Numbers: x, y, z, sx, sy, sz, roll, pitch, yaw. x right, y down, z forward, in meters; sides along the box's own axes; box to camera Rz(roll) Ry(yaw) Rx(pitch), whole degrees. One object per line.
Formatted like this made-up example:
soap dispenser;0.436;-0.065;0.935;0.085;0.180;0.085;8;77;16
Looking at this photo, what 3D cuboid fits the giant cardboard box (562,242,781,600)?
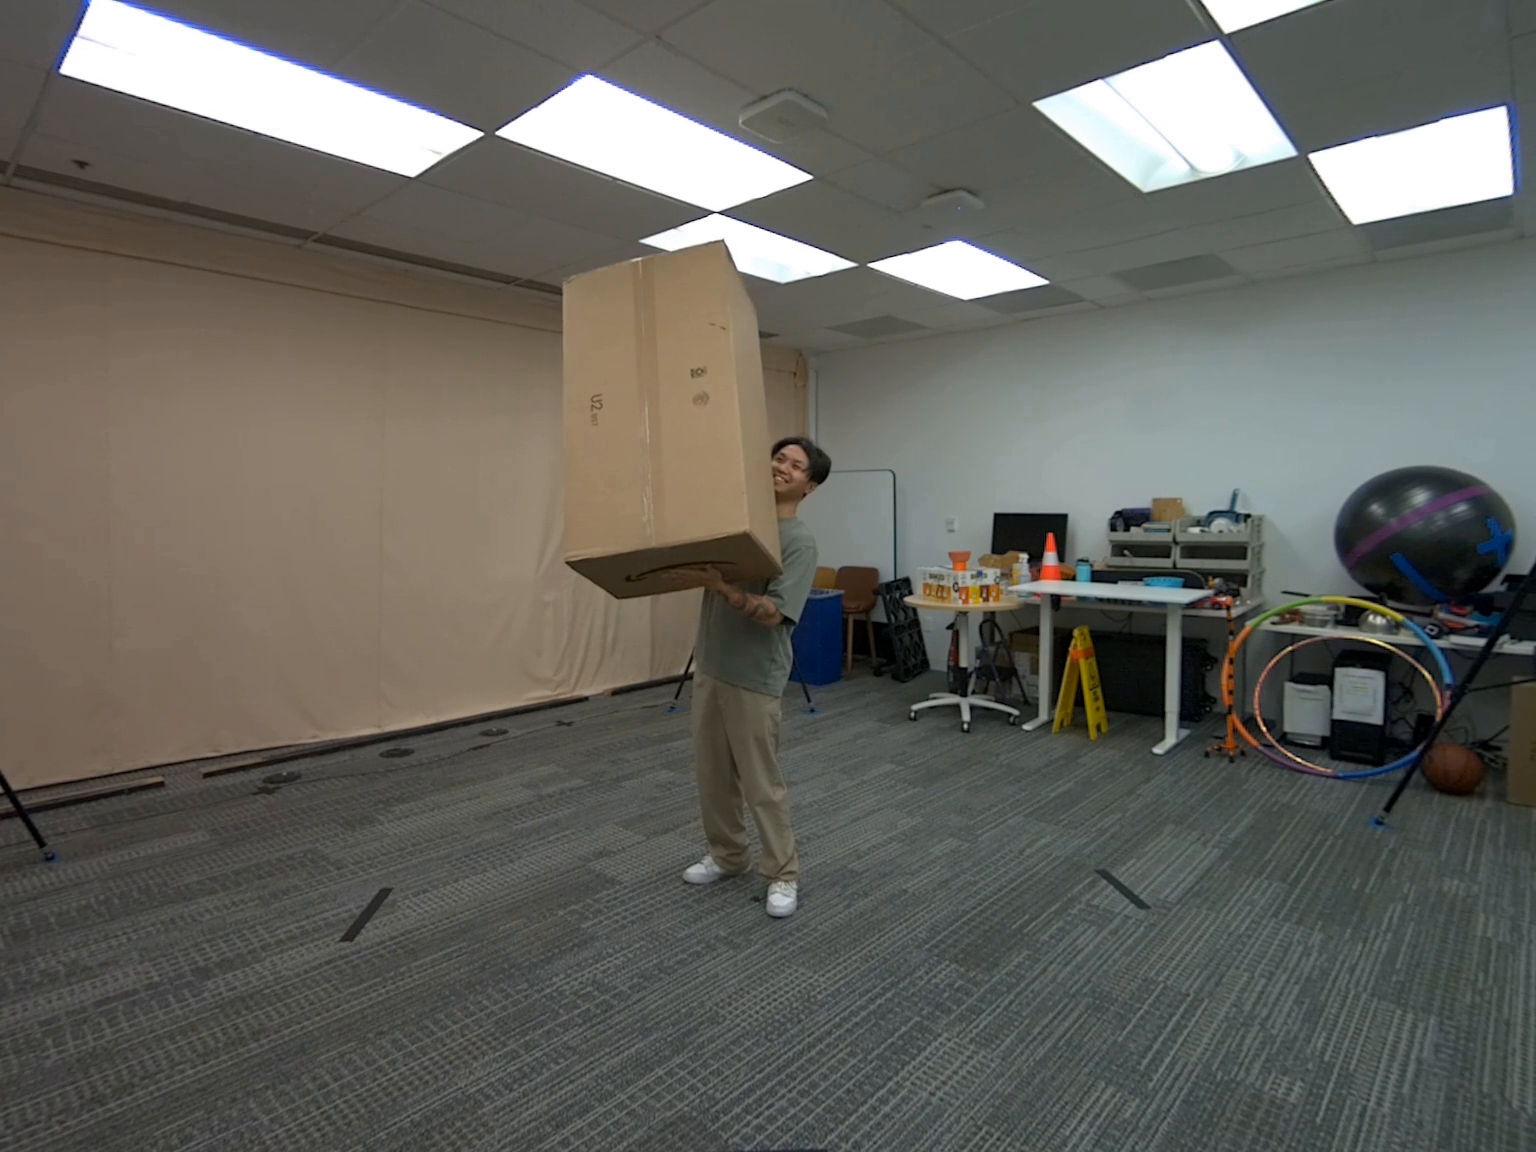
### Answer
giant cardboard box;-0.316;-0.496;2.783;0.585;1.040;0.415;-10;-21;13
